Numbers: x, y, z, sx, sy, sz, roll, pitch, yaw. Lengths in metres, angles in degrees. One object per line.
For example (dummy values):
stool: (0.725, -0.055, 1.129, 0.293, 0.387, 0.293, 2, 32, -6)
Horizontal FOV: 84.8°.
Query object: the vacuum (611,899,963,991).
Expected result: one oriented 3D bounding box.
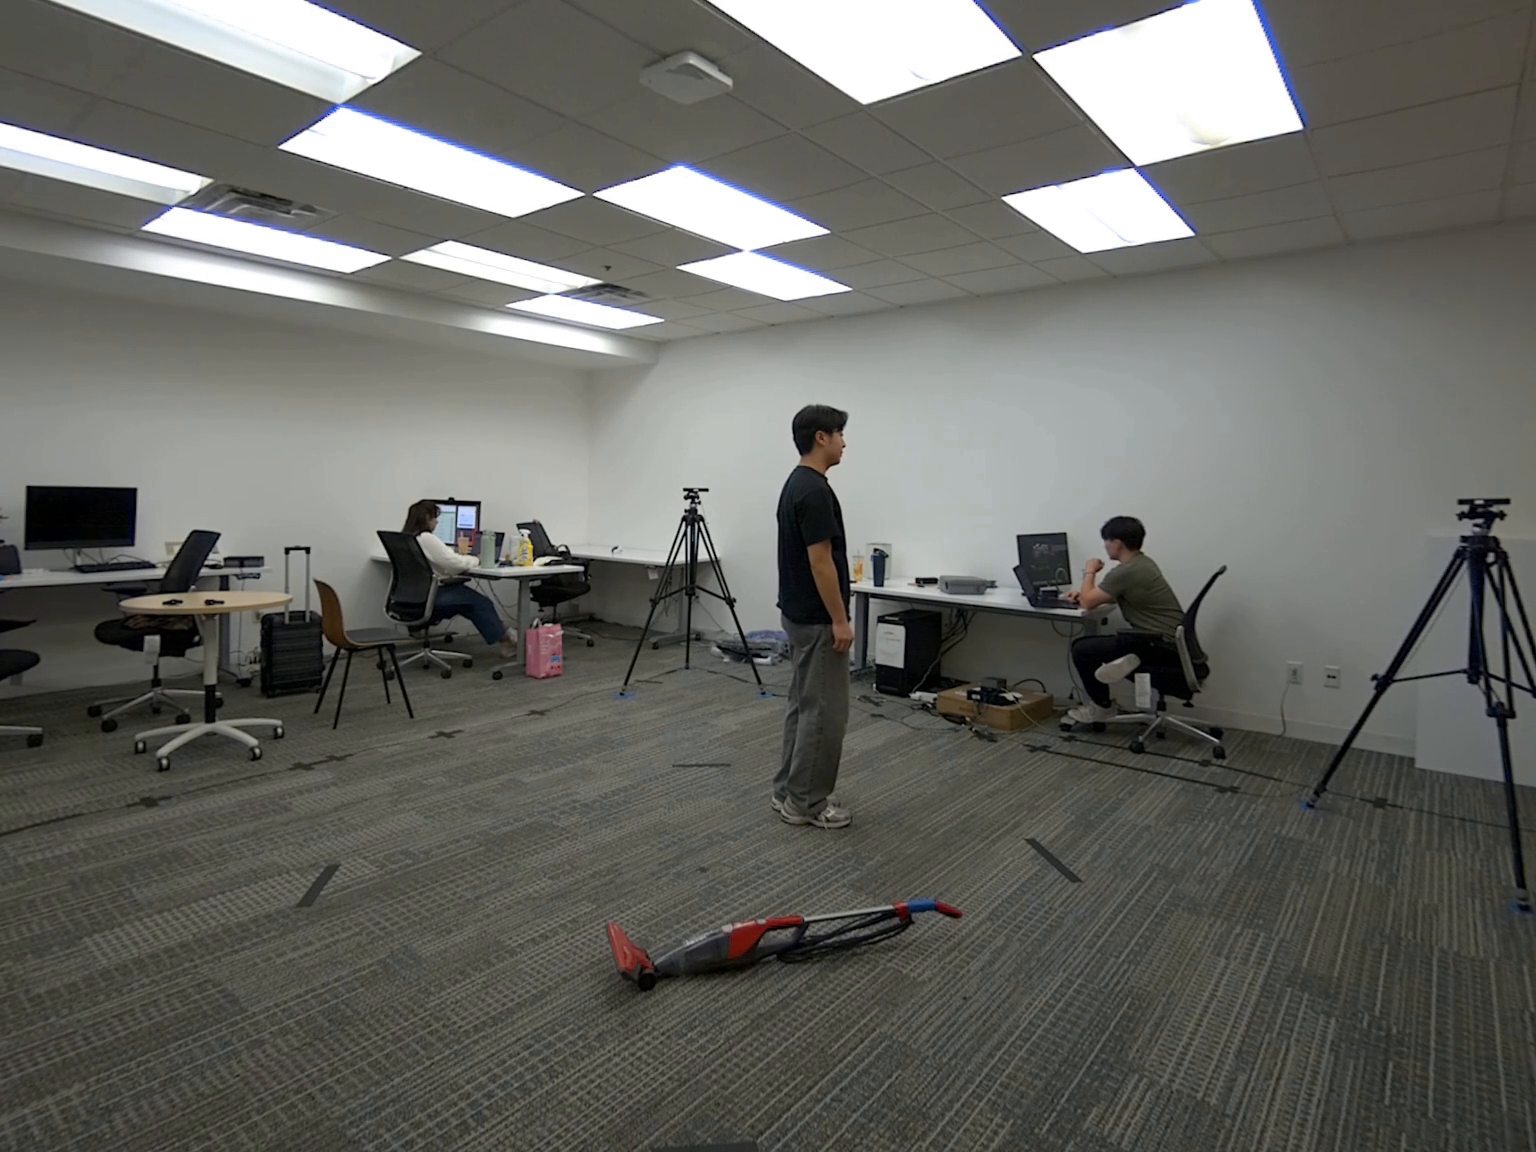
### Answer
vacuum: (0.097, 1.074, 2.533, 1.032, 0.143, 0.258, 1, 7, -15)
